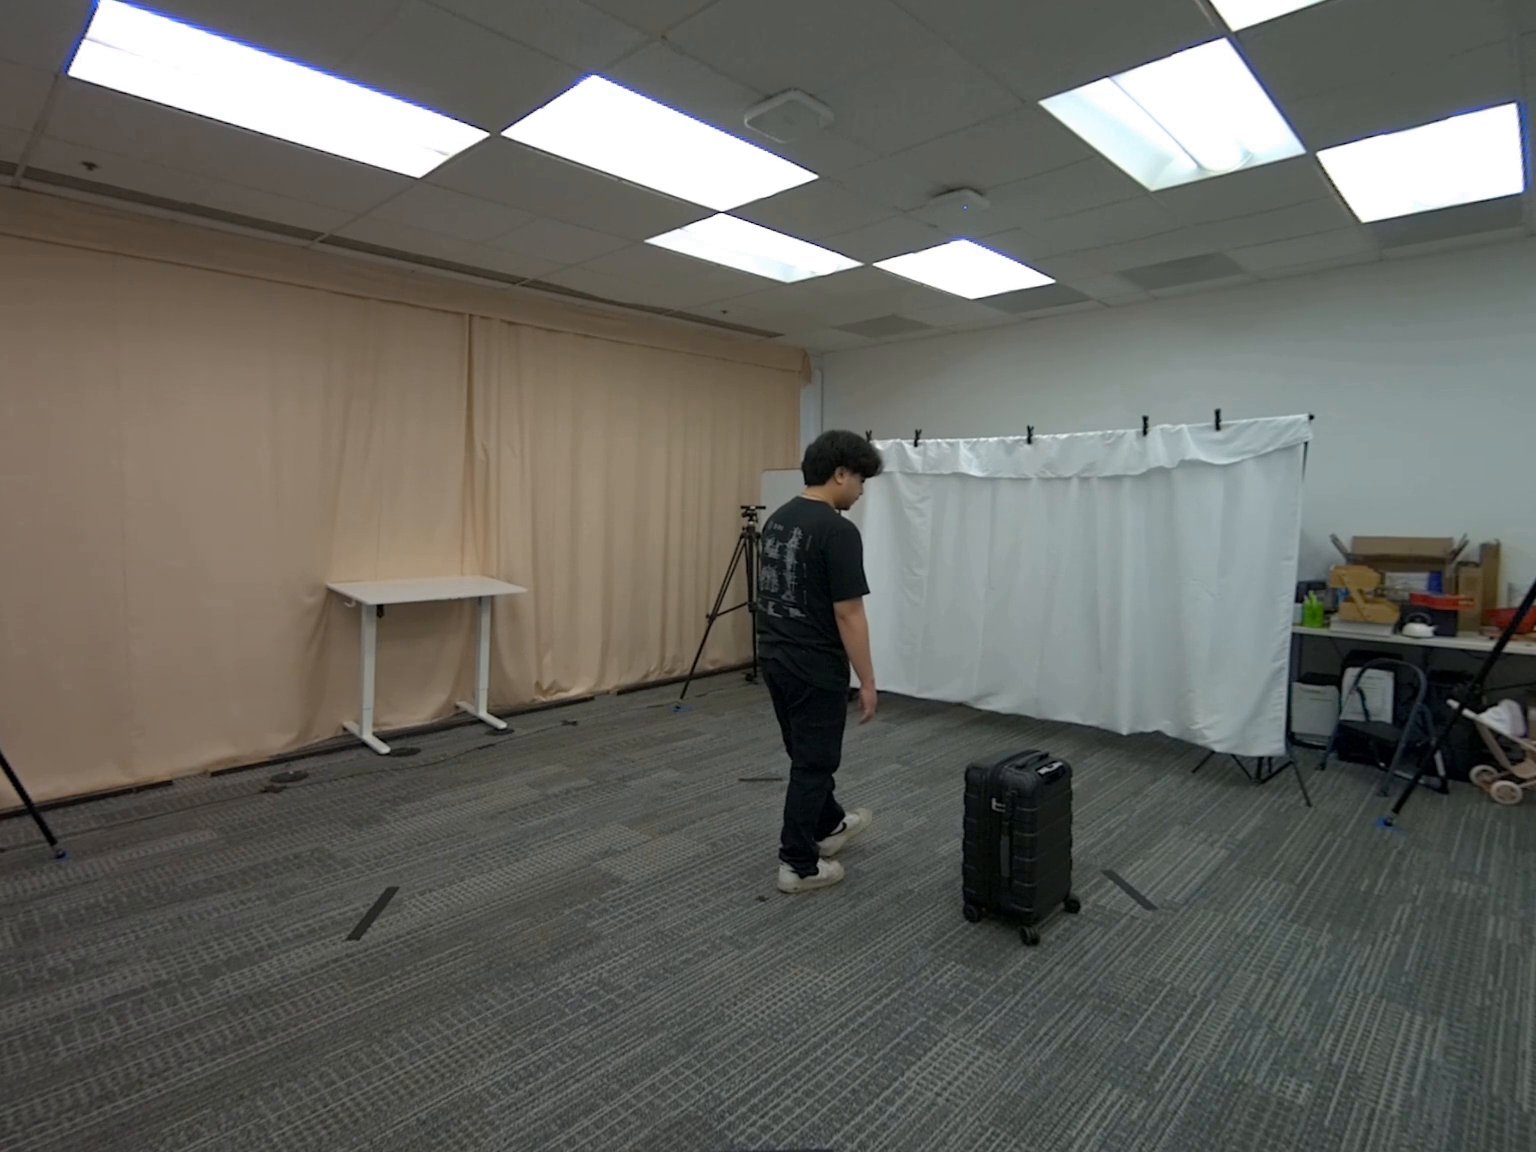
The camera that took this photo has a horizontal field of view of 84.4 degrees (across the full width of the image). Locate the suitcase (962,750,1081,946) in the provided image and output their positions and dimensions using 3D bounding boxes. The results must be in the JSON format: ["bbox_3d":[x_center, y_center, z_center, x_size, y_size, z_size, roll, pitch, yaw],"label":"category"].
[{"bbox_3d":[0.857,0.878,2.850,0.364,0.548,0.256,-3,4,-45],"label":"suitcase"}]
